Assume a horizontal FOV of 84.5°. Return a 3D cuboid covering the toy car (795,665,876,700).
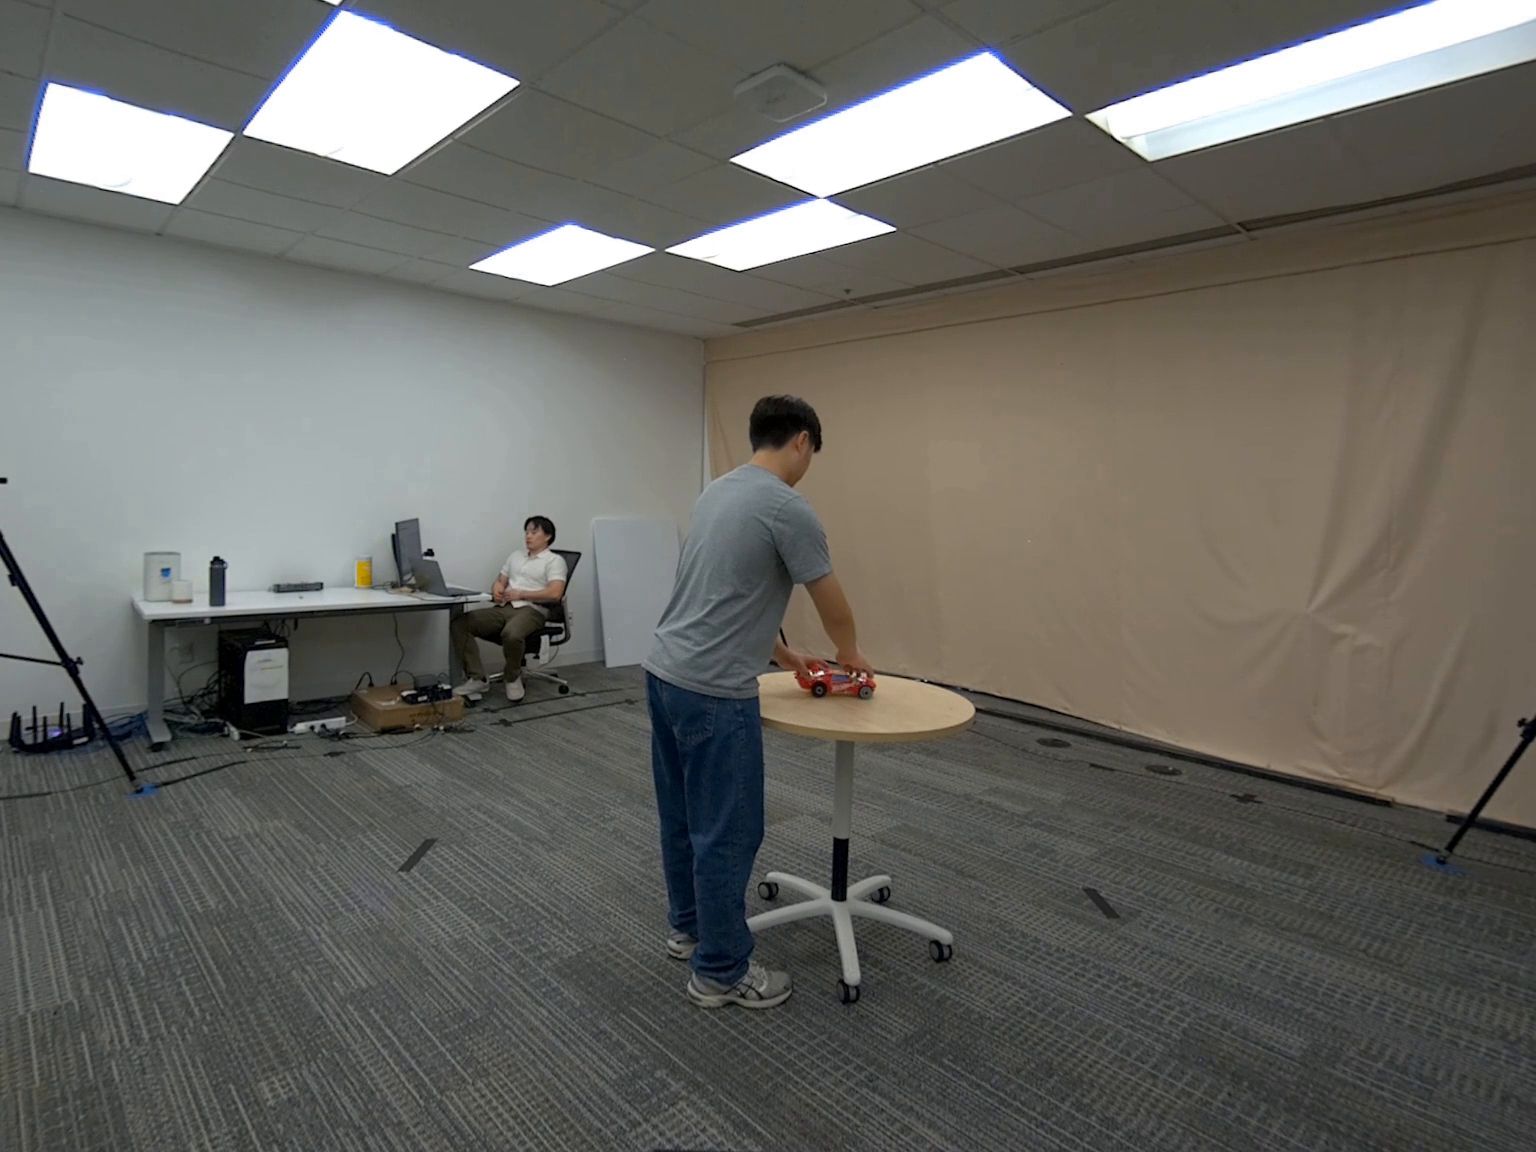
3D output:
[{"bbox_3d":[0.203,0.344,2.634,0.254,0.083,0.131,13,5,-2],"label":"toy car"}]
